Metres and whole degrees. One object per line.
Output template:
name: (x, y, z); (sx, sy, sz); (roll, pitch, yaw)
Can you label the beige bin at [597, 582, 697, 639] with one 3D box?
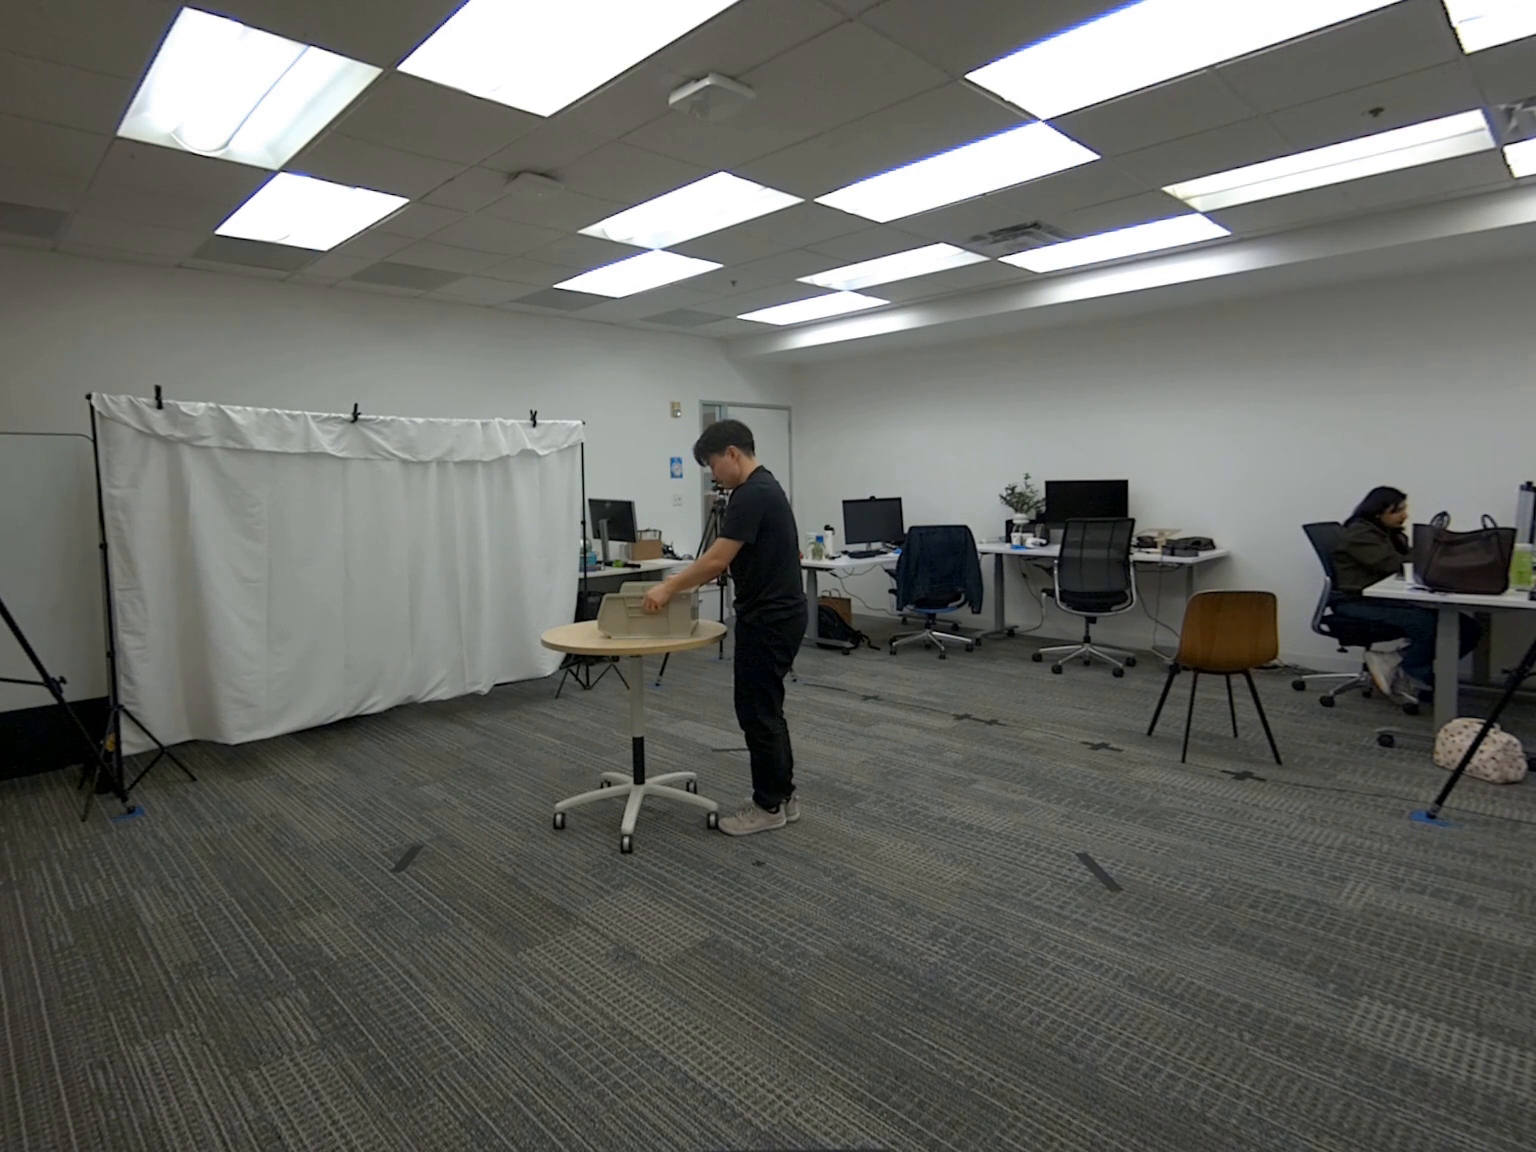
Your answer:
beige bin: (-0.480, 0.134, 3.546); (0.378, 0.188, 0.423); (0, 6, 2)
